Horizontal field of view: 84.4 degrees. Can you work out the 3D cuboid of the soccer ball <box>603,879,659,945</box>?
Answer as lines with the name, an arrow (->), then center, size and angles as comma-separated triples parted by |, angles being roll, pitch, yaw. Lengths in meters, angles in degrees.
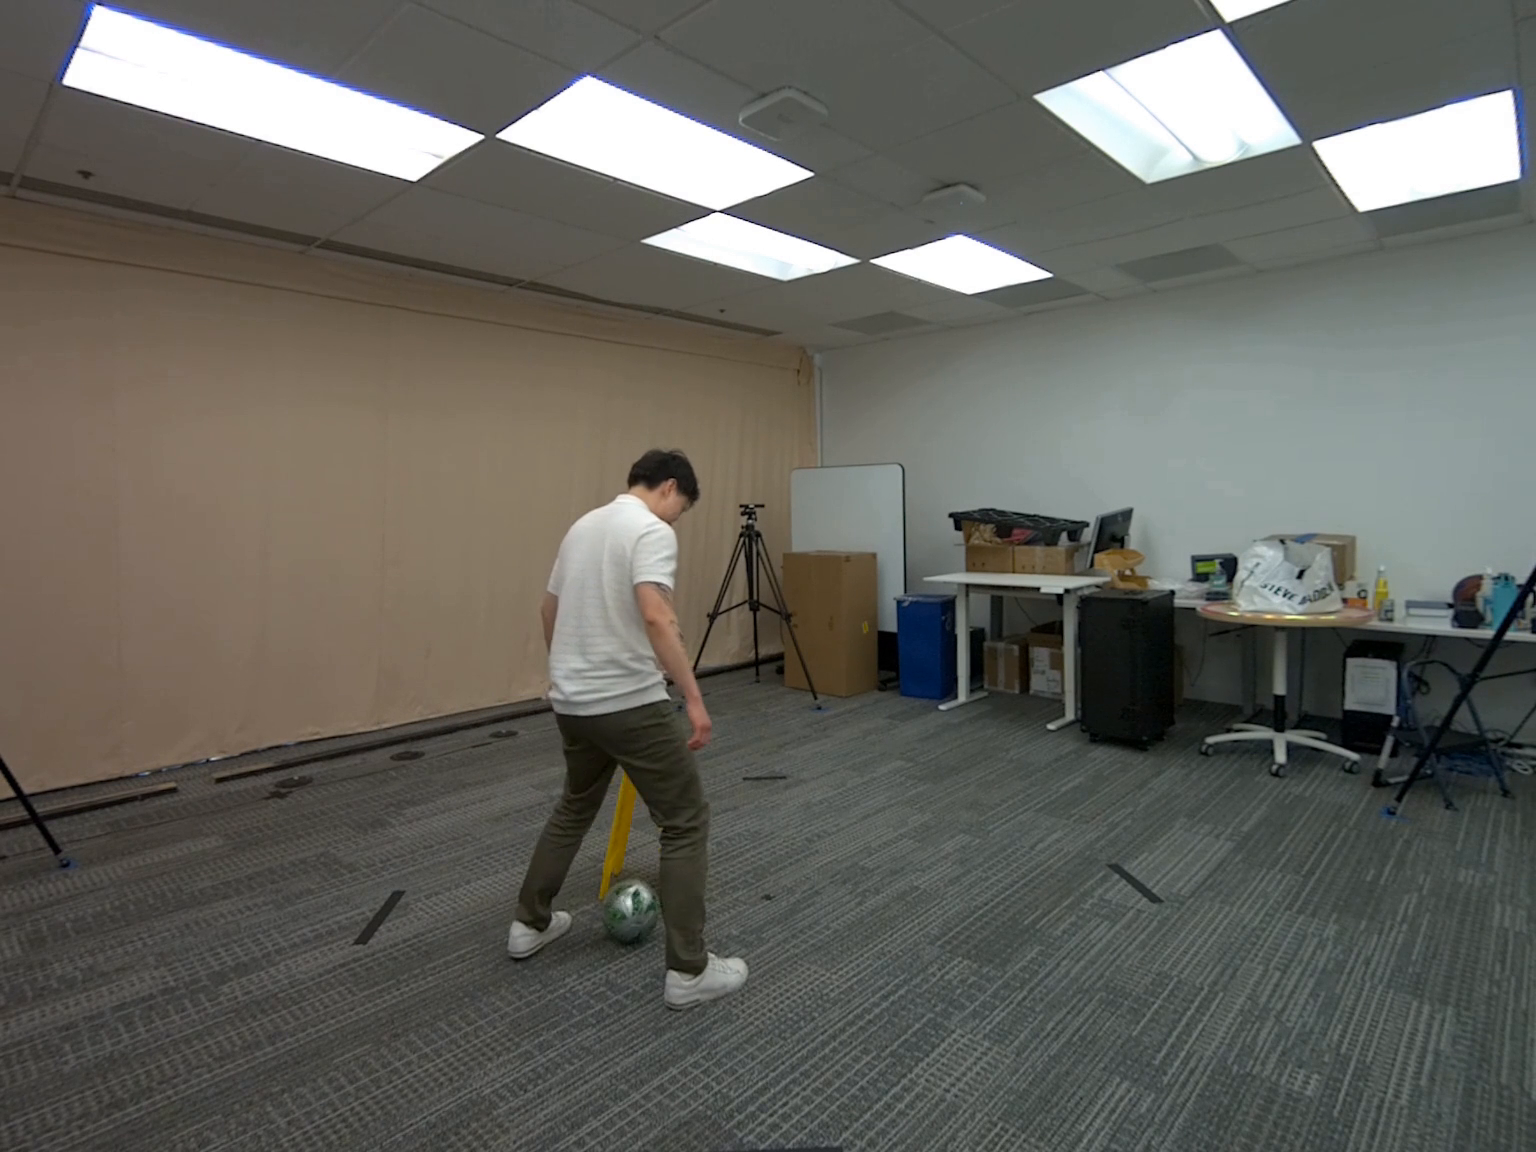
soccer ball -> -0.440, 1.082, 2.703 | 0.187, 0.187, 0.188 | -1, 4, -2
